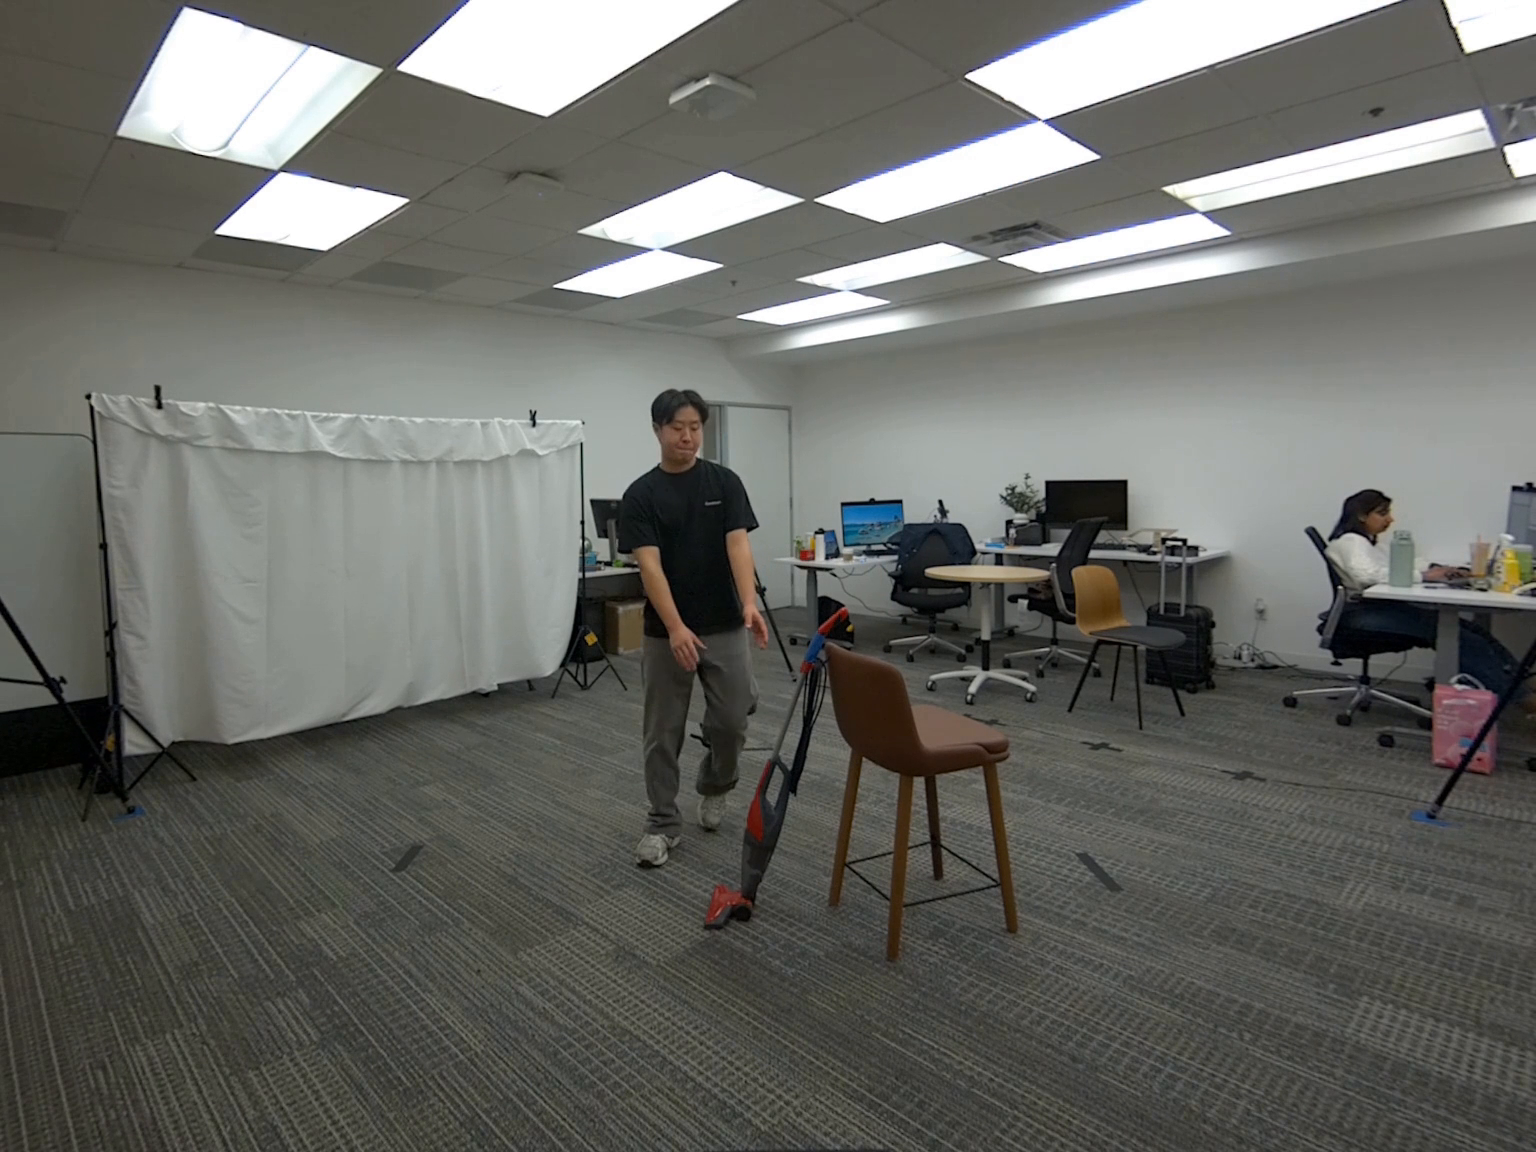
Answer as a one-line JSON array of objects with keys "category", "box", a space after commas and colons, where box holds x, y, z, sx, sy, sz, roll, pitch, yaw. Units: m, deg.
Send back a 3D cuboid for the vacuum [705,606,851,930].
[{"category": "vacuum", "box": [0.068, 0.593, 2.708, 0.144, 1.045, 0.253, 19, 7, 0]}]
